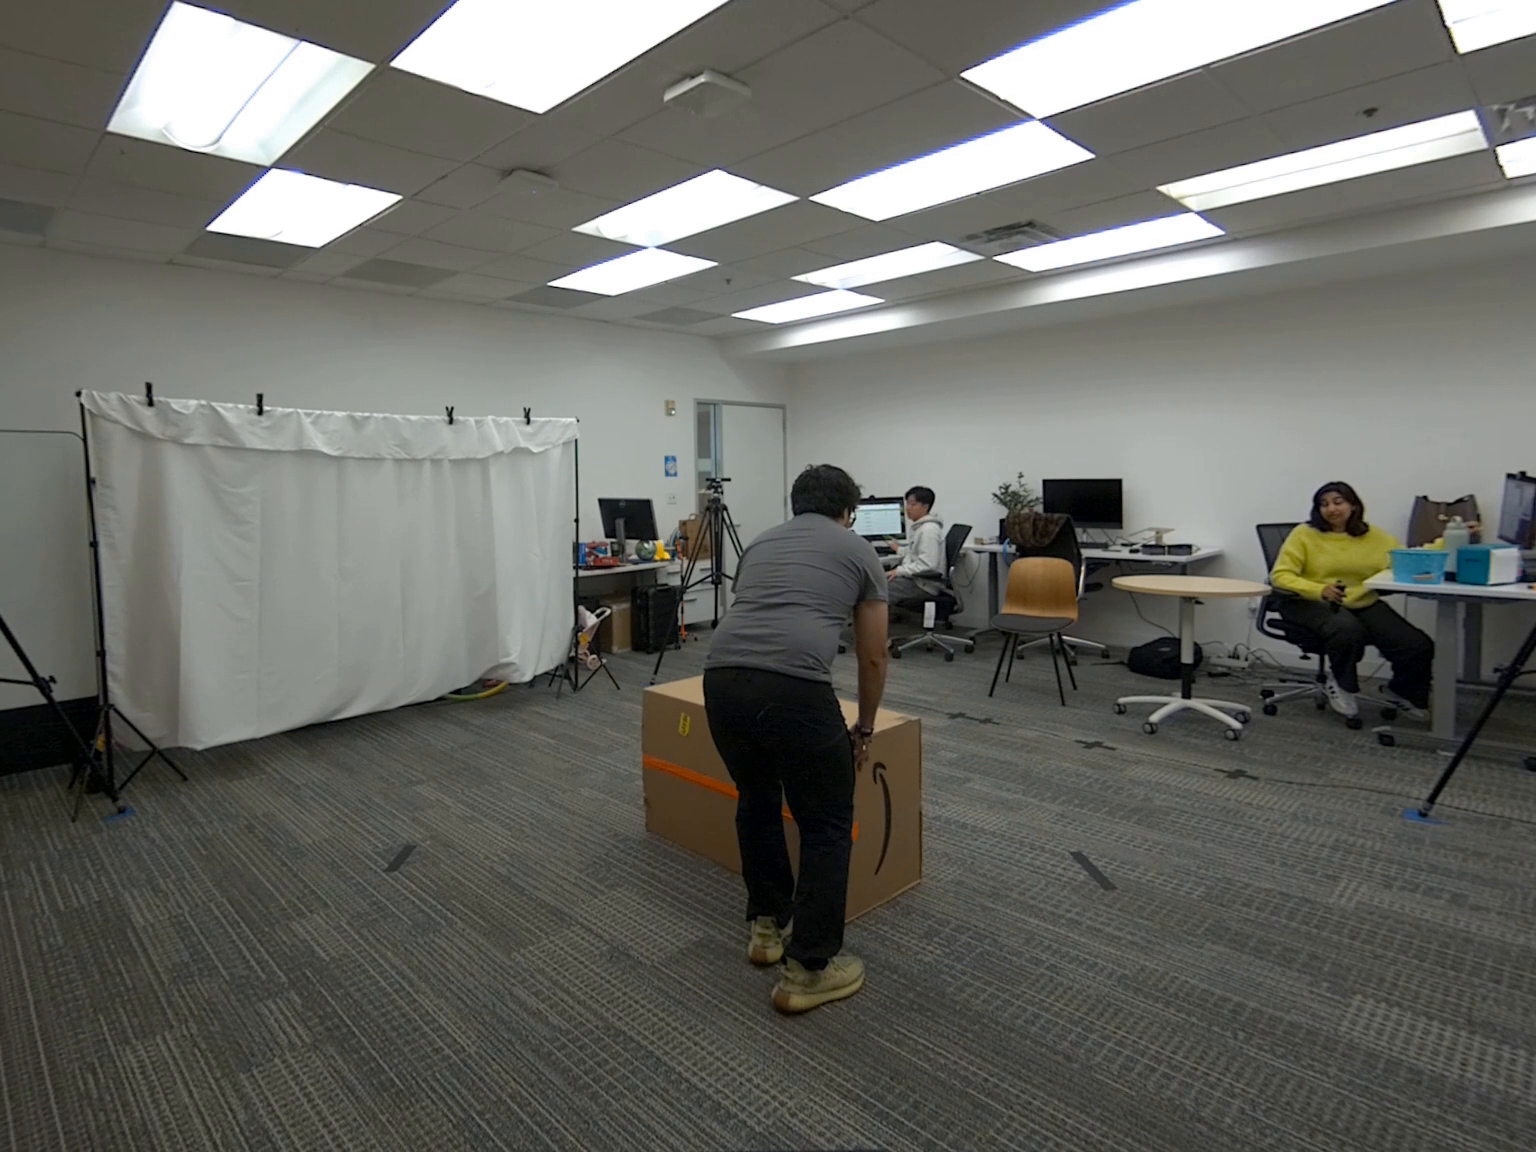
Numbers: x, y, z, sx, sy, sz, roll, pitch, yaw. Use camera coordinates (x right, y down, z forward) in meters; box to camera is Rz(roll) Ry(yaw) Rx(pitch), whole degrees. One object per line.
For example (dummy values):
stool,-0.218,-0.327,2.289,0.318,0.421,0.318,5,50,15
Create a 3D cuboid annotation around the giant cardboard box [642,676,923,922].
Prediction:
giant cardboard box,0.017,0.751,3.160,0.415,0.575,1.058,-4,6,-43
